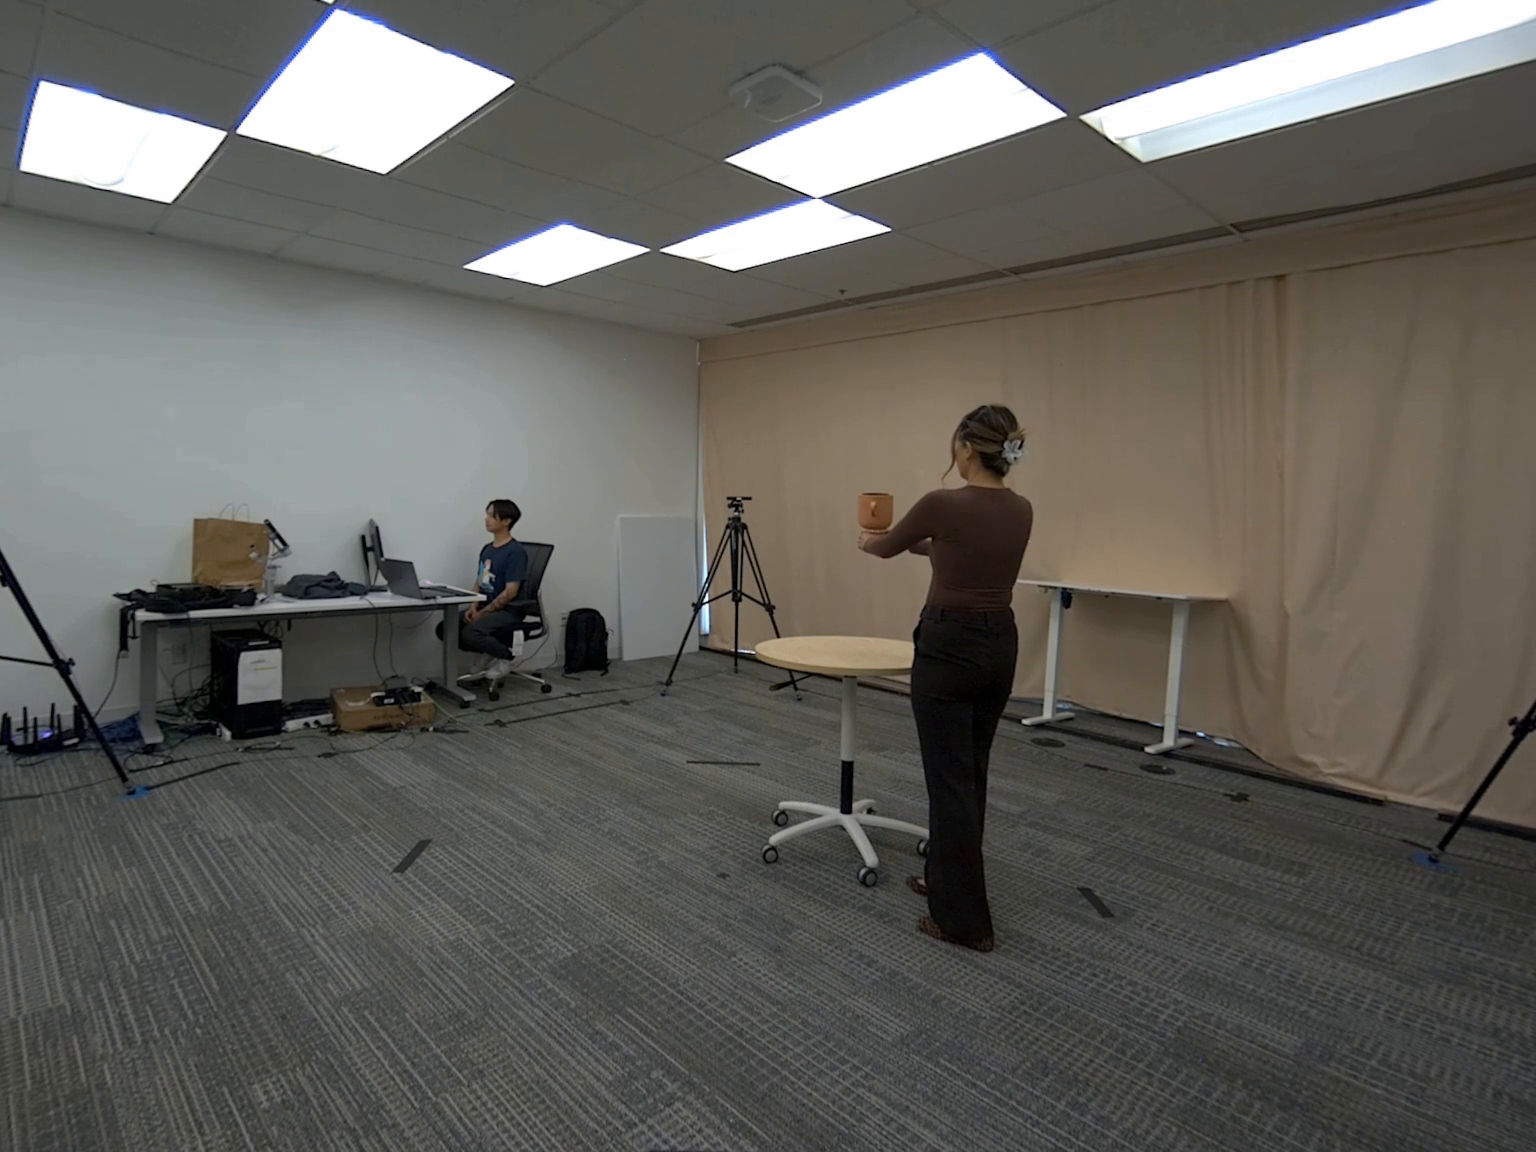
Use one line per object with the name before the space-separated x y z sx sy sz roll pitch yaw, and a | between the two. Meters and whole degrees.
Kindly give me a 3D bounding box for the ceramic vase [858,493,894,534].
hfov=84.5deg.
ceramic vase | 0.399 -0.207 3.240 0.156 0.218 0.138 -7 9 -37
